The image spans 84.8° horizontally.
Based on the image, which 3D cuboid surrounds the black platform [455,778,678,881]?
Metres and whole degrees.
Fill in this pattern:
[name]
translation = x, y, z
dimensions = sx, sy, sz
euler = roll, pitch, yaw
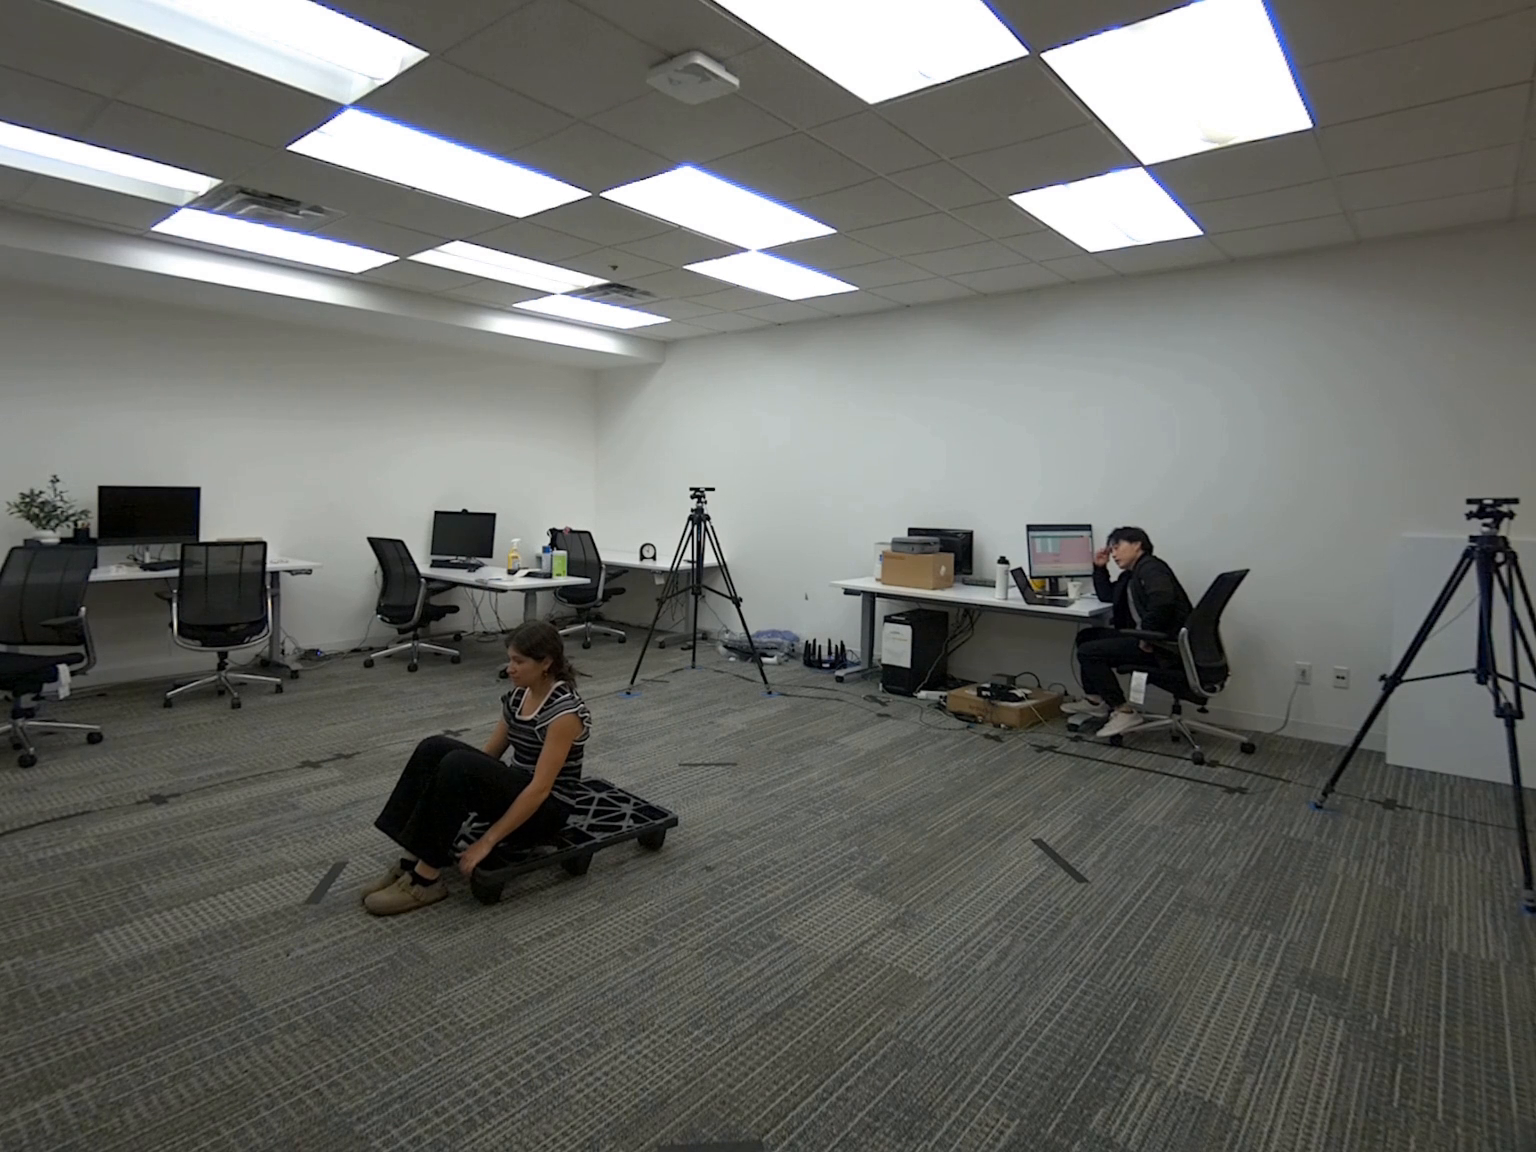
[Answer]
[black platform]
translation = -0.843, 0.978, 3.216
dimensions = 0.782, 0.143, 0.625
euler = -5, 7, -42
